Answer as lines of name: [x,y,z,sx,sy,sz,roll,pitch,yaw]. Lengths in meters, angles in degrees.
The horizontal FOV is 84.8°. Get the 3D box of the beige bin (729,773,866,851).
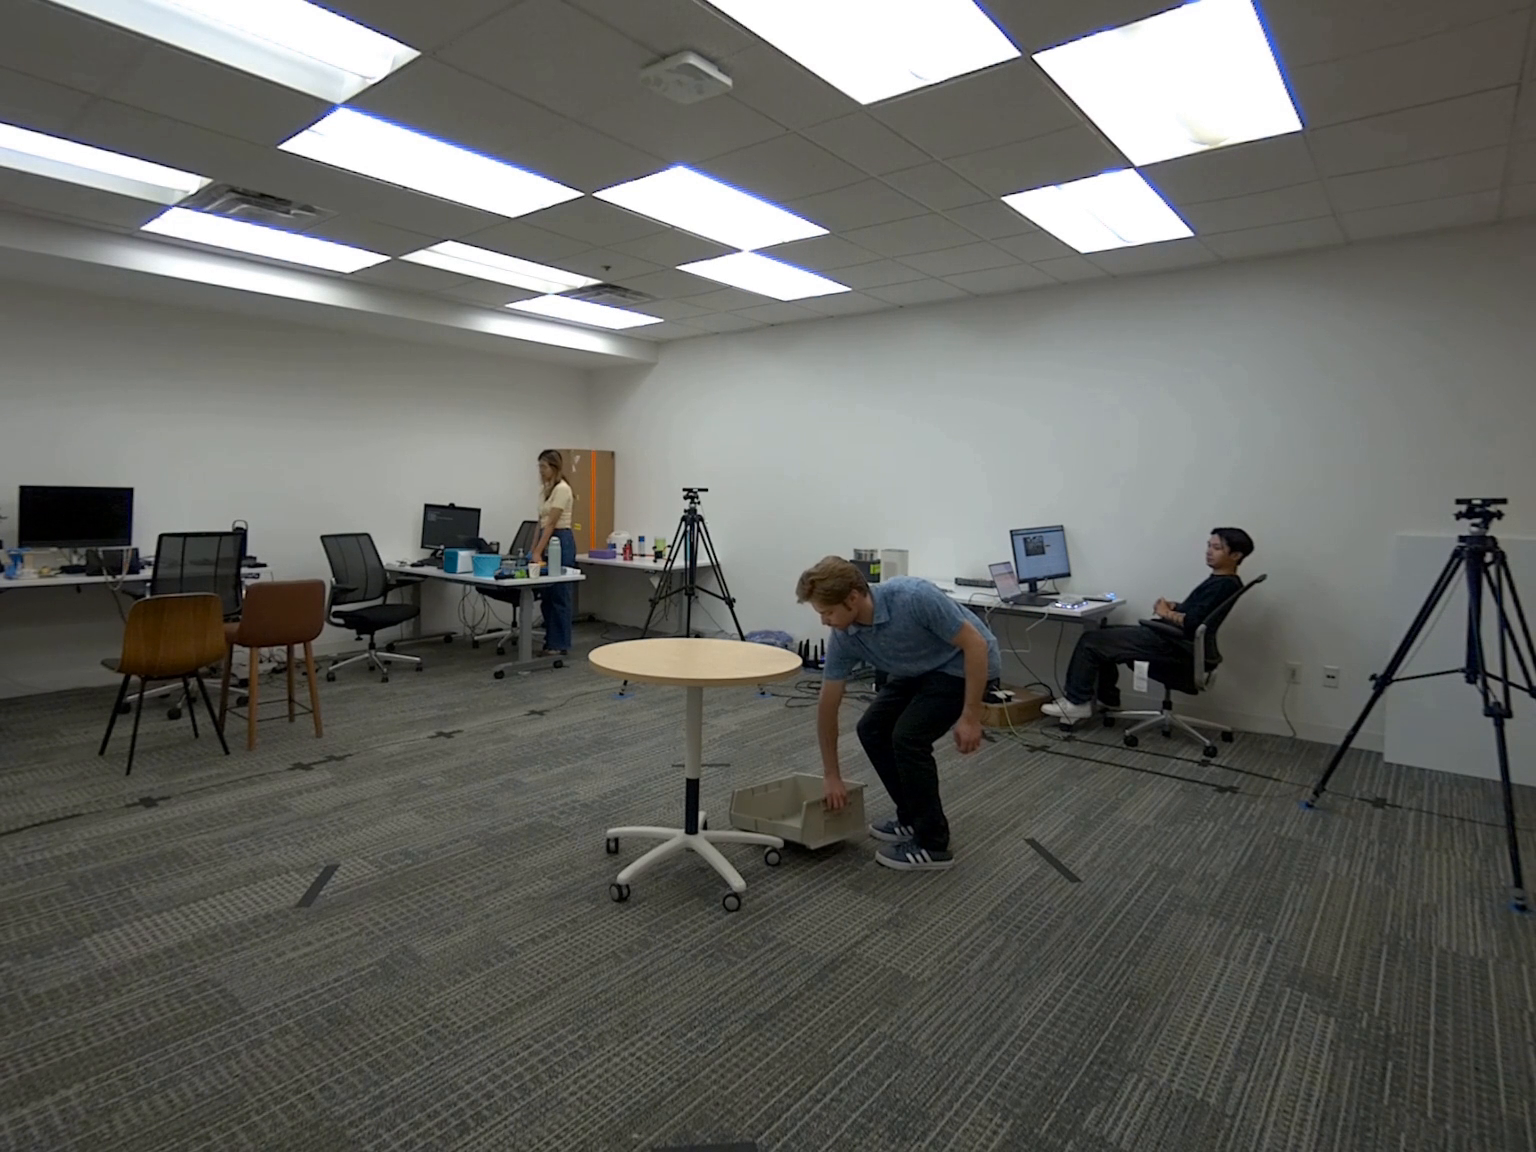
beige bin: [0.110,0.929,3.391,0.366,0.190,0.434,-2,-3,-41]
